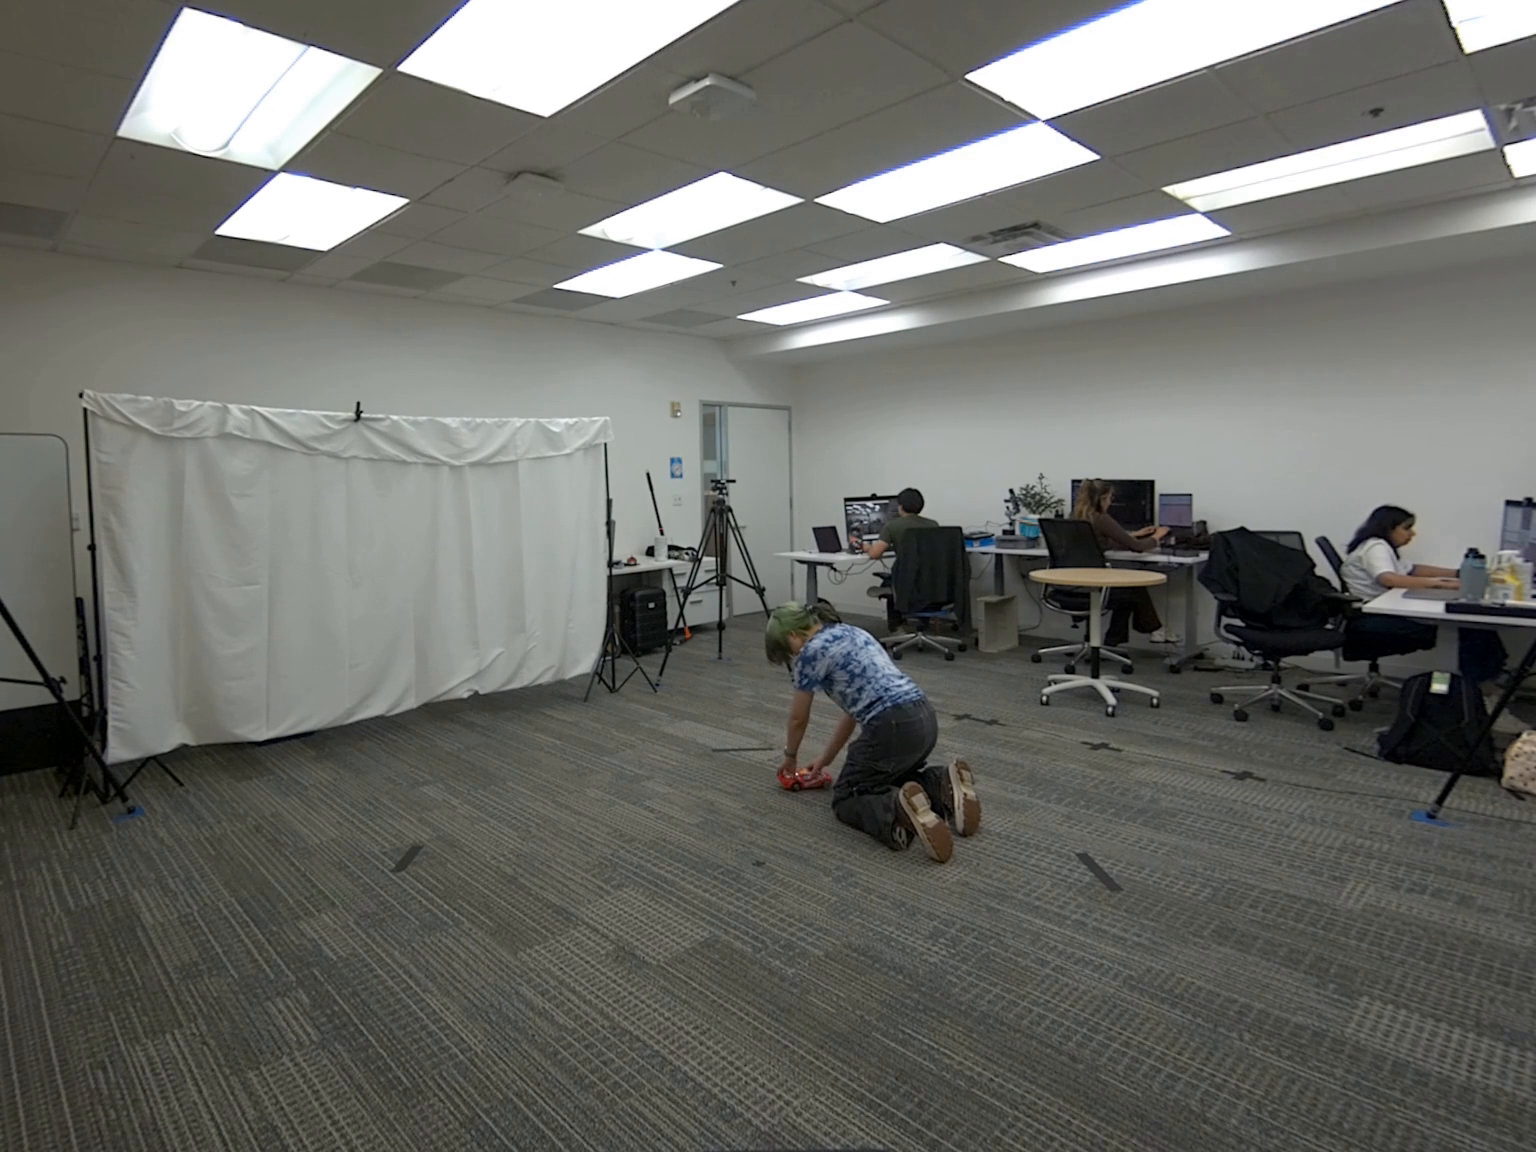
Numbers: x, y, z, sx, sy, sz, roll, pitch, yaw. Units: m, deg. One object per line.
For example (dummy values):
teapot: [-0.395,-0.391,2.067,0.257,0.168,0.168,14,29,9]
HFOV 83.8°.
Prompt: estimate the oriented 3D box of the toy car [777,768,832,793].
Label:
toy car: [0.162,0.927,3.880,0.251,0.083,0.132,10,1,-11]
